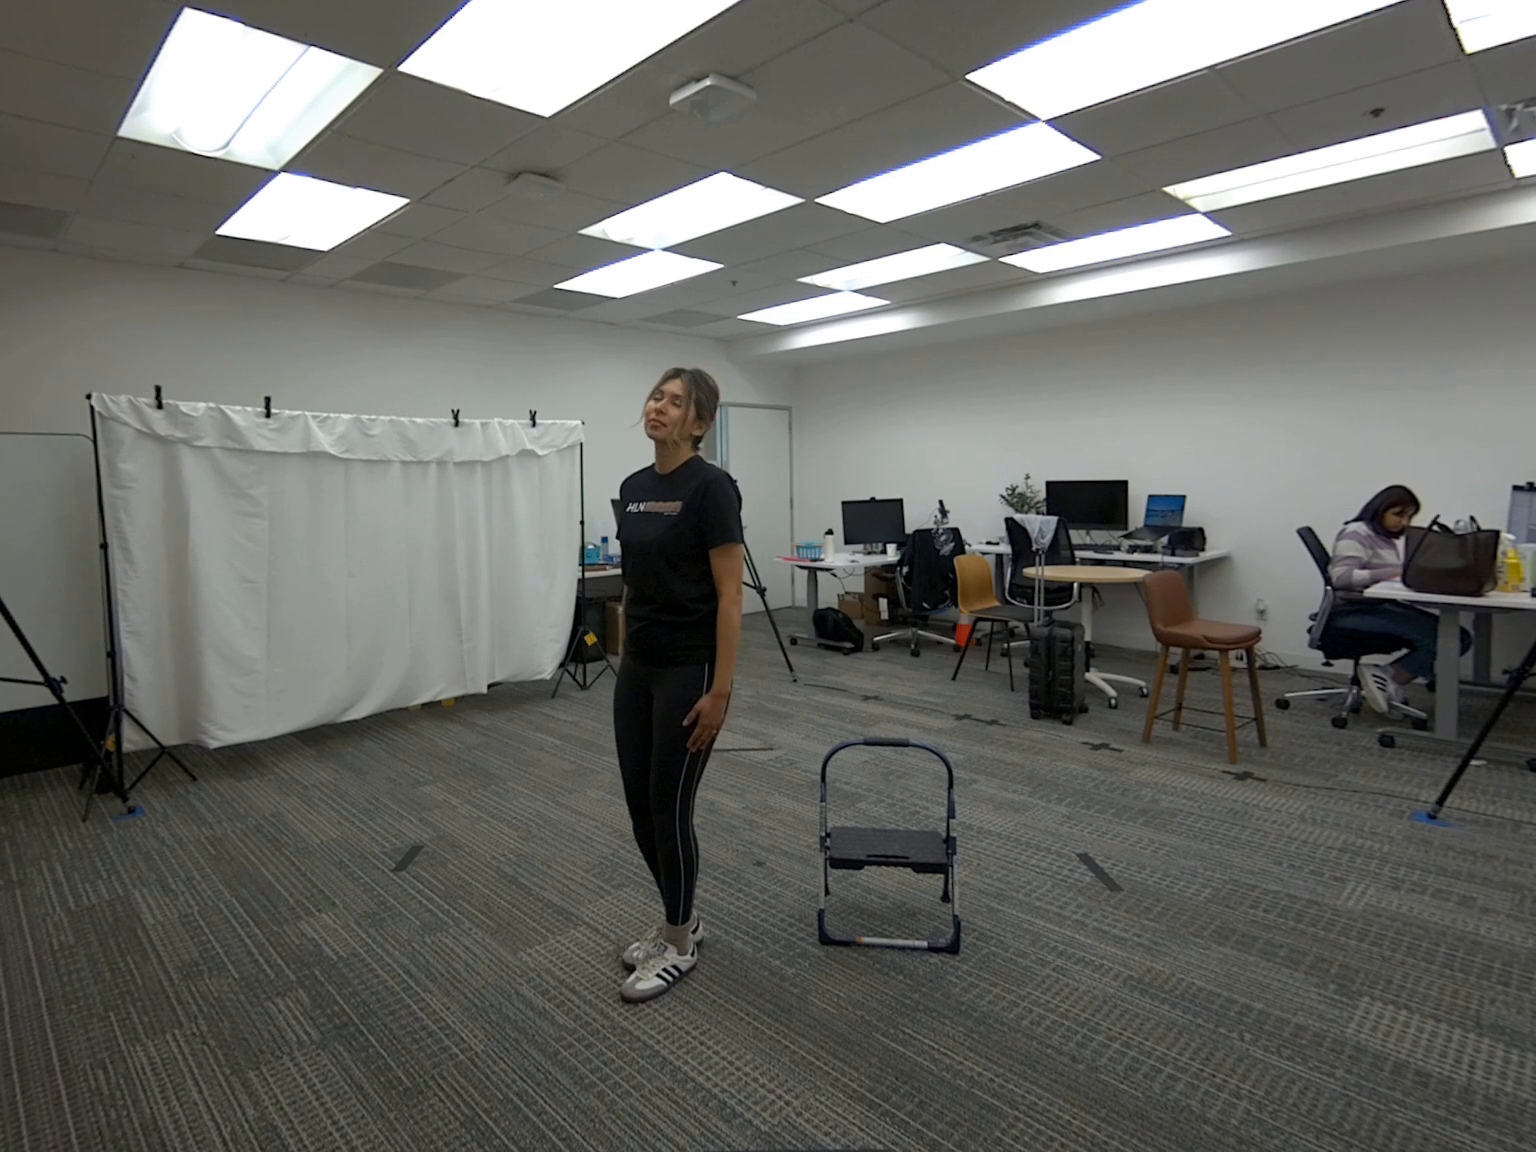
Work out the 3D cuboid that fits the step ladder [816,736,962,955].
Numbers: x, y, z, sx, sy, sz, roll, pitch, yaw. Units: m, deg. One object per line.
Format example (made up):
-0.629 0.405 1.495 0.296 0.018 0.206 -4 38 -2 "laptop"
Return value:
0.373 0.789 2.678 0.434 0.604 0.348 0 3 7 "step ladder"
